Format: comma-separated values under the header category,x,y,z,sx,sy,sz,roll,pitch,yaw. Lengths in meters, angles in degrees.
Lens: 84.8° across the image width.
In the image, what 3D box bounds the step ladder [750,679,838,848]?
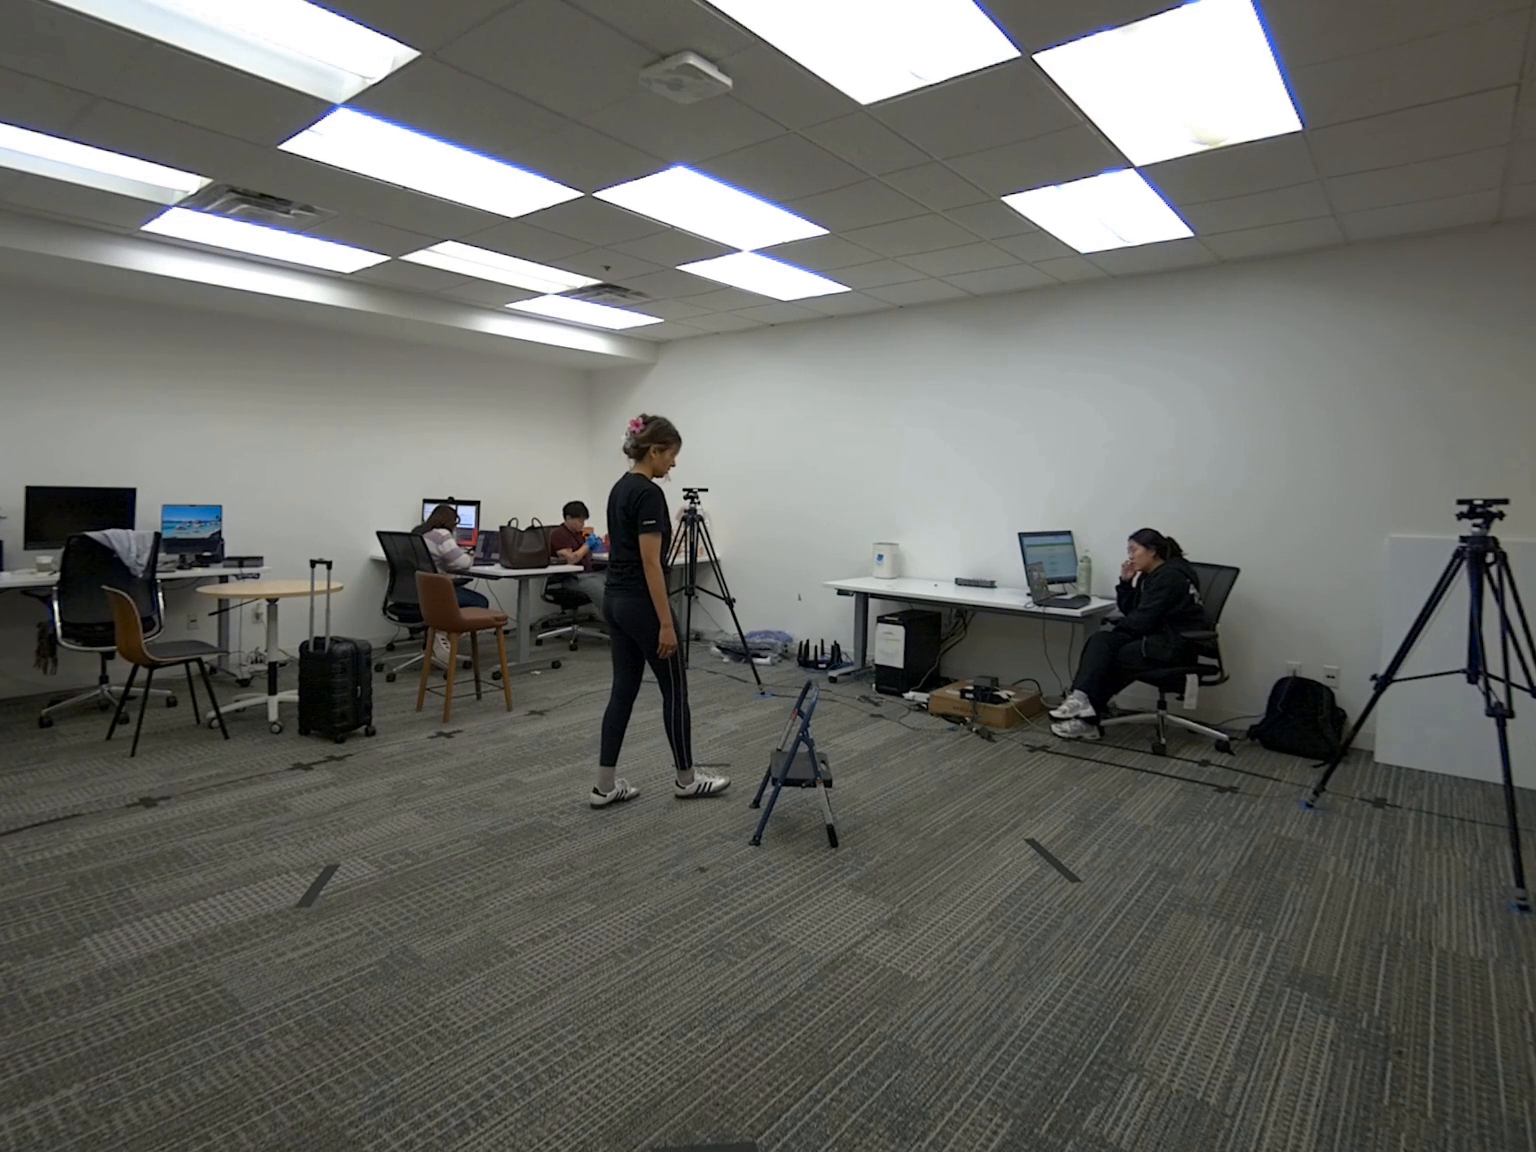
category,x,y,z,sx,sy,sz,roll,pitch,yaw
step ladder,0.101,0.736,3.515,0.350,0.604,0.432,1,4,0
